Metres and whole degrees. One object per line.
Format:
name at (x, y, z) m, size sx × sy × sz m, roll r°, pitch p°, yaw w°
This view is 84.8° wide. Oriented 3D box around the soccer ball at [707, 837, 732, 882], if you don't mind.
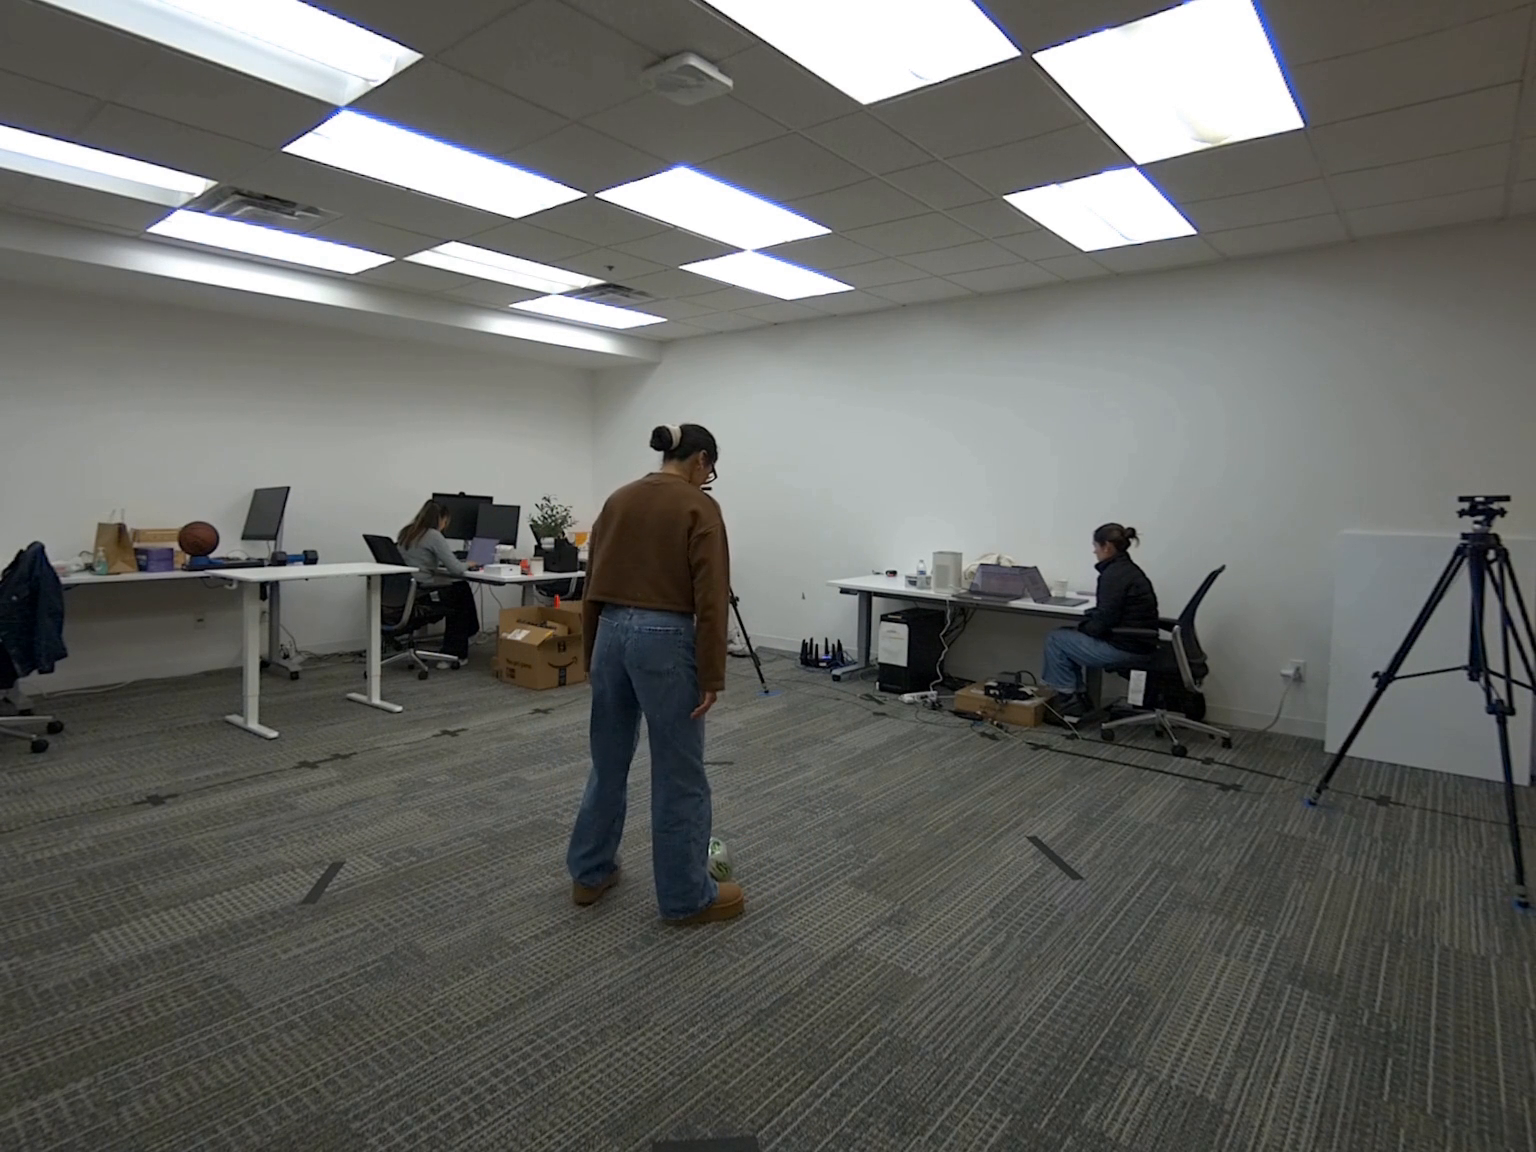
soccer ball at (-0.220, 0.986, 2.919) m, size 0.187 × 0.187 × 0.188 m, roll 1°, pitch 4°, yaw -2°
